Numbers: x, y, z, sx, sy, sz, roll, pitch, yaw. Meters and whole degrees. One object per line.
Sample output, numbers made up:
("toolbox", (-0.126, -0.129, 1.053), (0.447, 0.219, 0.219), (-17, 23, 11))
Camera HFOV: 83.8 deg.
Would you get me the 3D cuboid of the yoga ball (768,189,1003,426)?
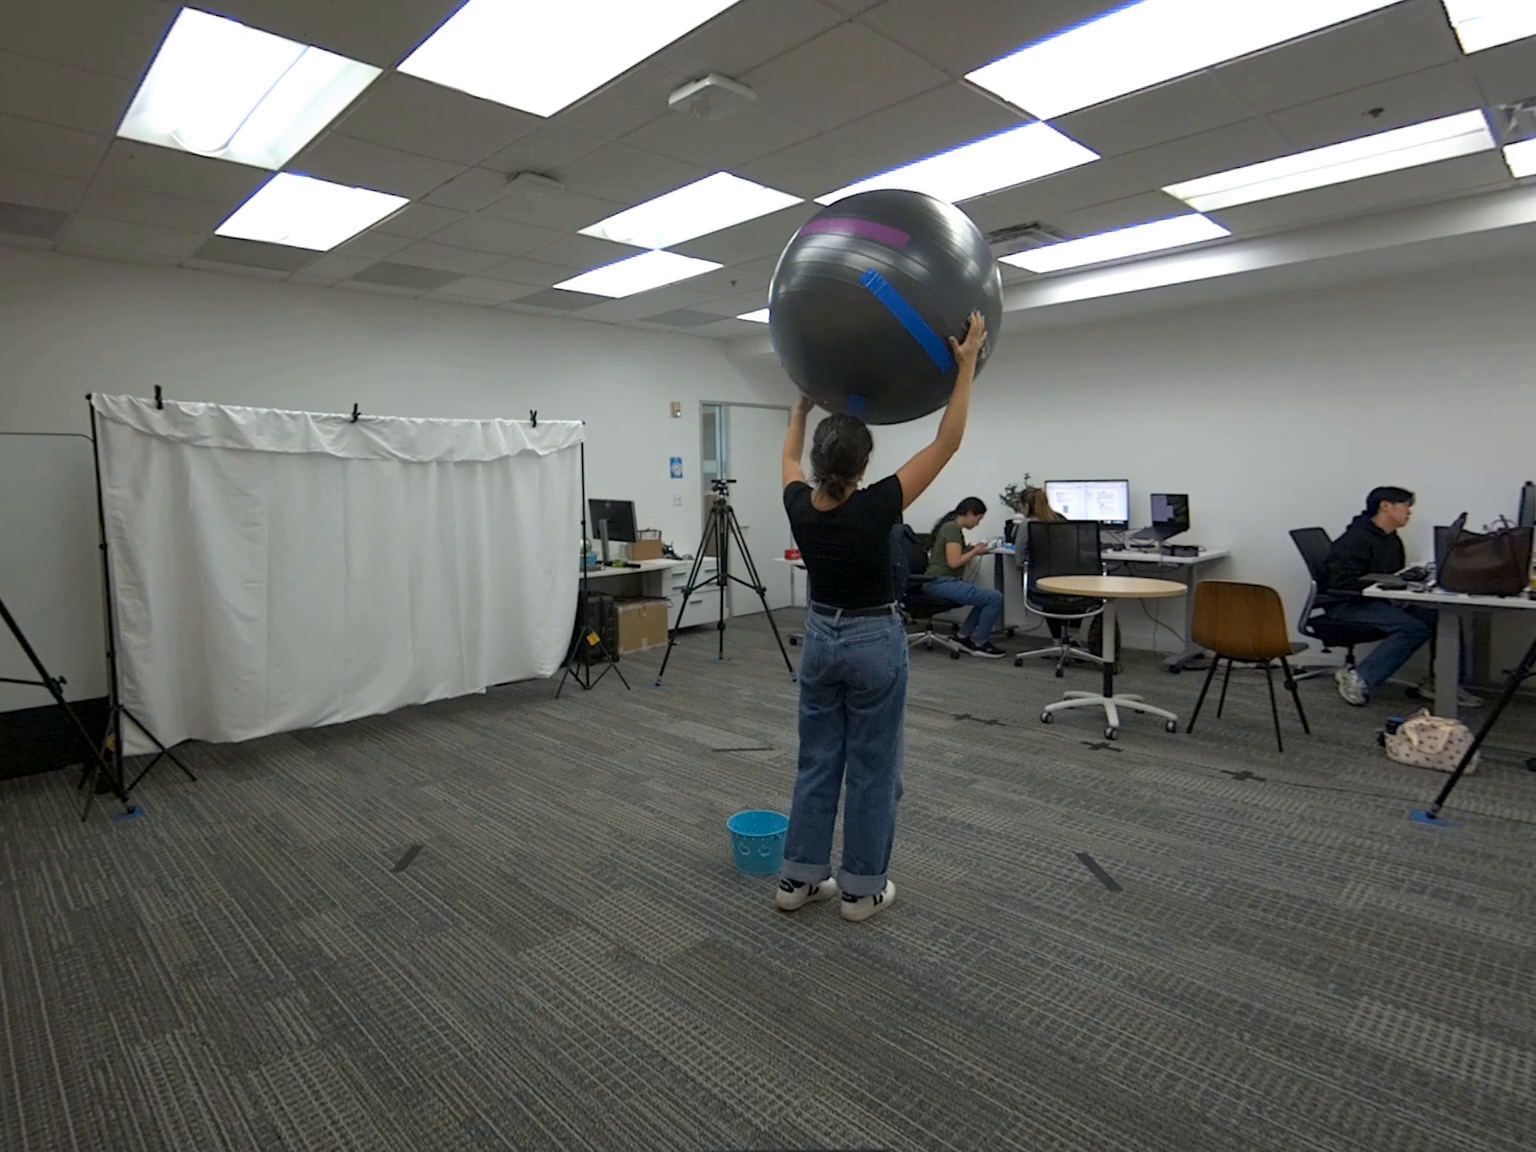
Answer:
("yoga ball", (0.382, -0.882, 2.831), (0.757, 0.755, 0.762), (-1, 5, -2))
